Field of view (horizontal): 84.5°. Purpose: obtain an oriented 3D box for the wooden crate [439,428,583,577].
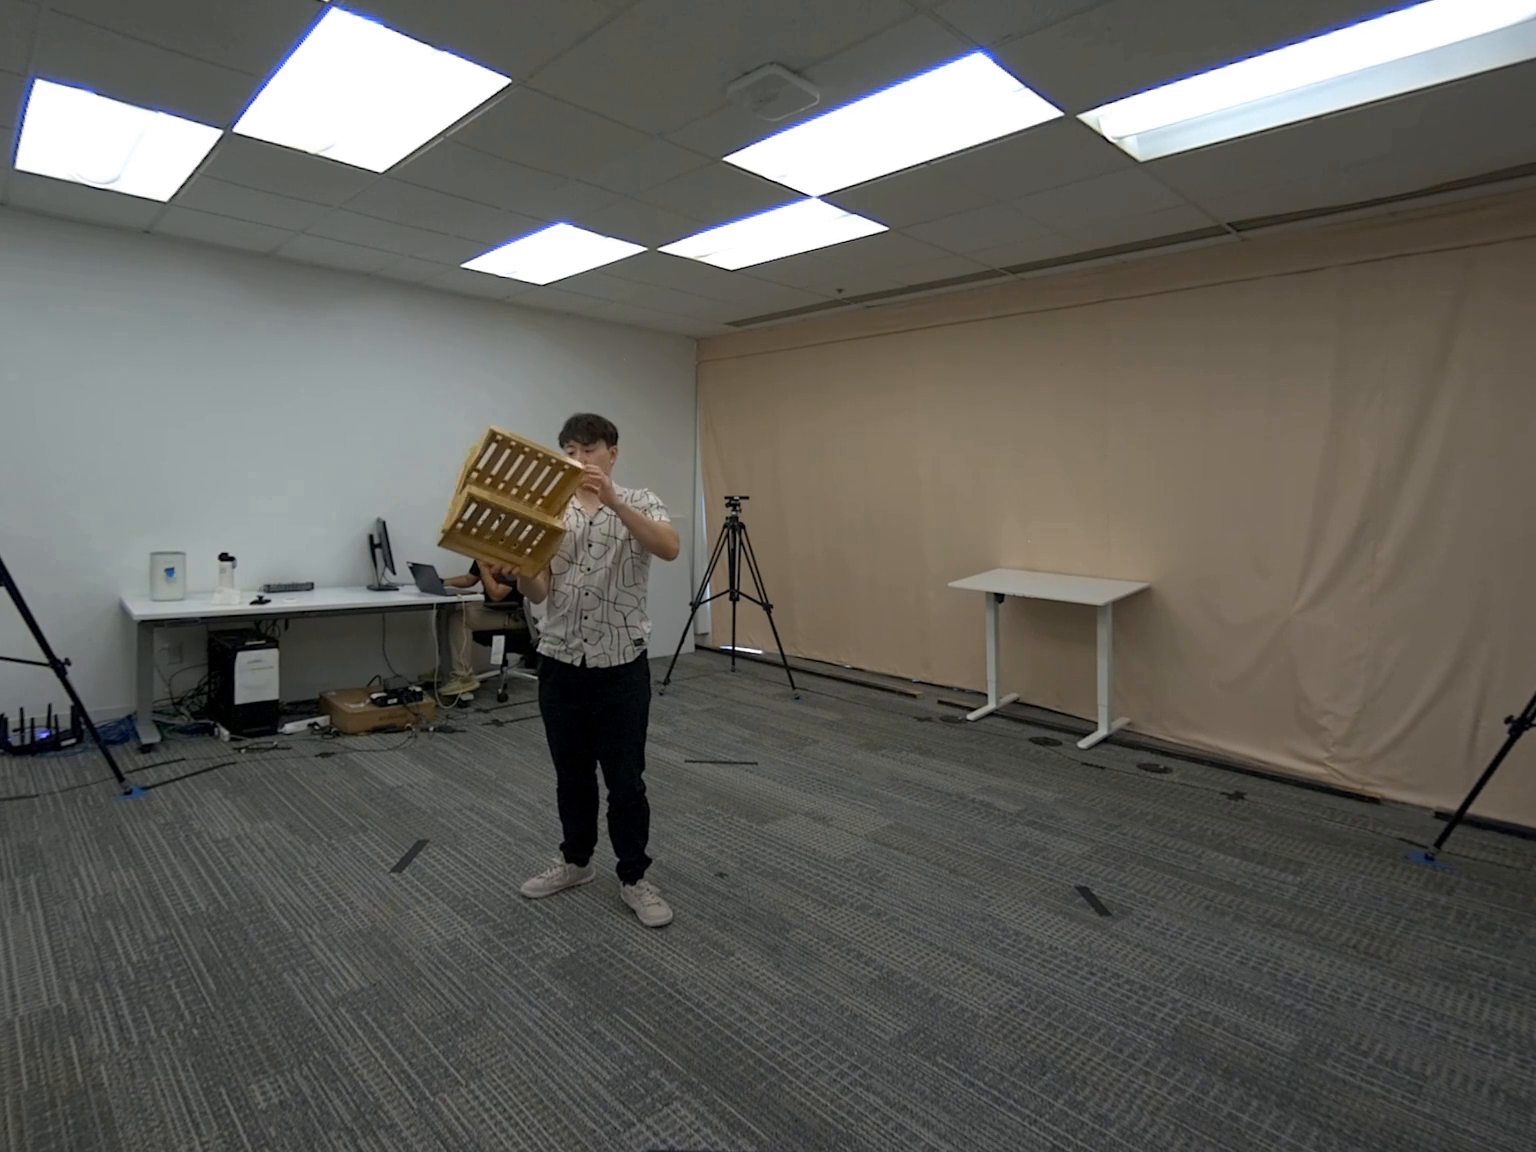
[{"bbox_3d":[-0.747,-0.210,2.449,0.316,0.280,0.303,24,-48,-30],"label":"wooden crate"}]
